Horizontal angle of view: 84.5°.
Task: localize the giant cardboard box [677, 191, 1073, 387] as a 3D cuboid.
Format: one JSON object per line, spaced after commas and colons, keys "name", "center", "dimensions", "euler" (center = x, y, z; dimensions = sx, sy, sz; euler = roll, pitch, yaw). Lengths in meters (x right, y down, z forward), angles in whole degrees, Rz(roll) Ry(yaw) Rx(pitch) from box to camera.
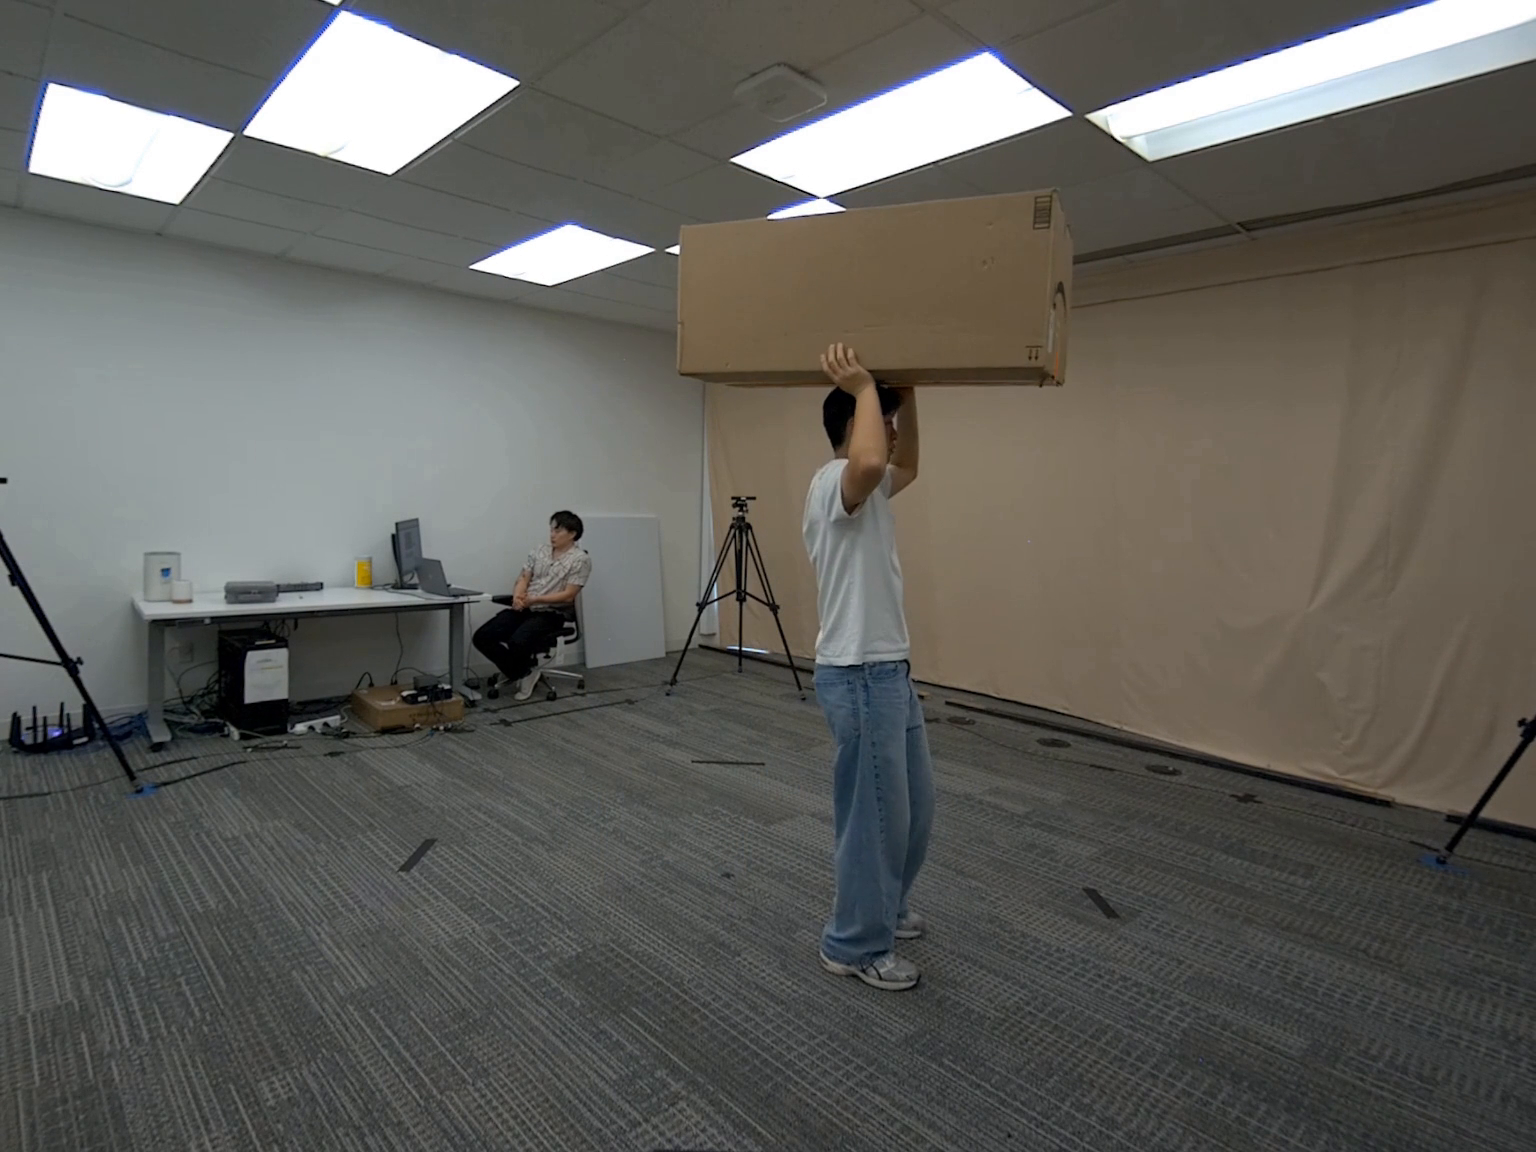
{"name": "giant cardboard box", "center": [0.310, -0.784, 2.483], "dimensions": [1.046, 0.424, 0.570], "euler": [5, 10, 25]}
